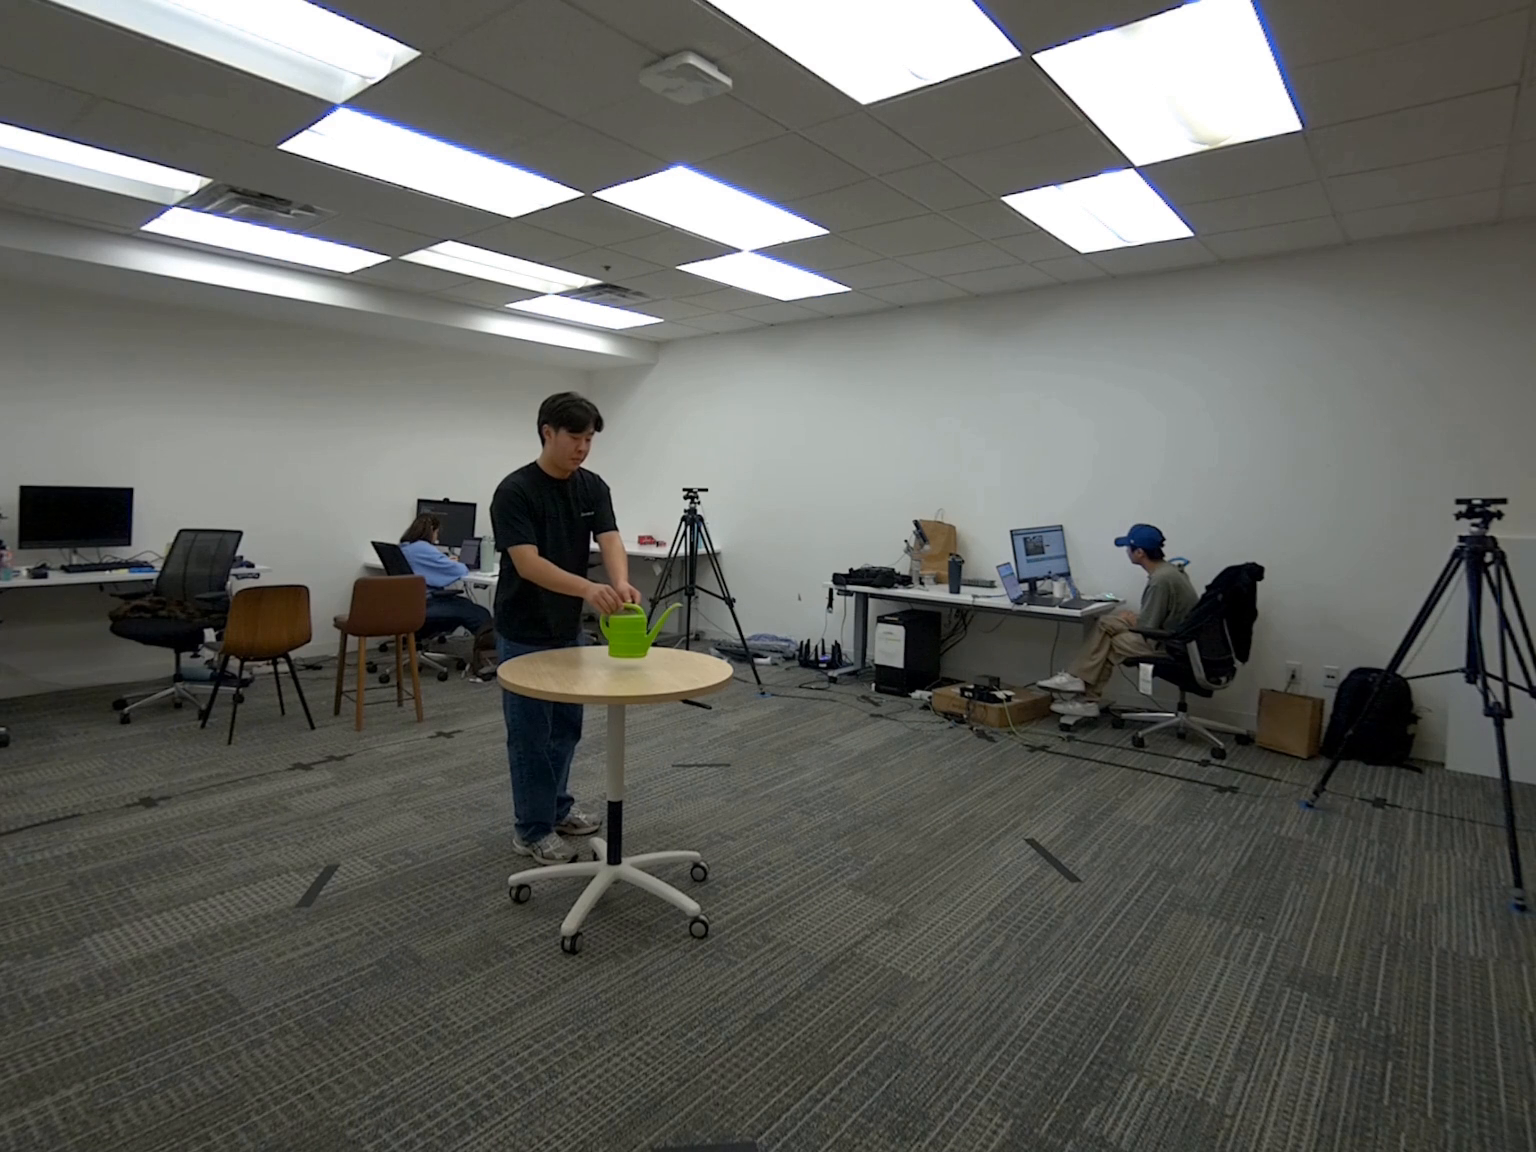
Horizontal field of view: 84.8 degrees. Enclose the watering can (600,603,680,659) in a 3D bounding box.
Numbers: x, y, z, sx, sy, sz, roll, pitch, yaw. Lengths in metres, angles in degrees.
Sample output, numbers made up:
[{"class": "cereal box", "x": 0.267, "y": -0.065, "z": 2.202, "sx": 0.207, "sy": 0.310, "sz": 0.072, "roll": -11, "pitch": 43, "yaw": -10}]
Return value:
[{"class": "watering can", "x": -0.438, "y": 0.178, "z": 2.783, "sx": 0.285, "sy": 0.177, "sz": 0.095, "roll": -1, "pitch": -1, "yaw": 27}]
